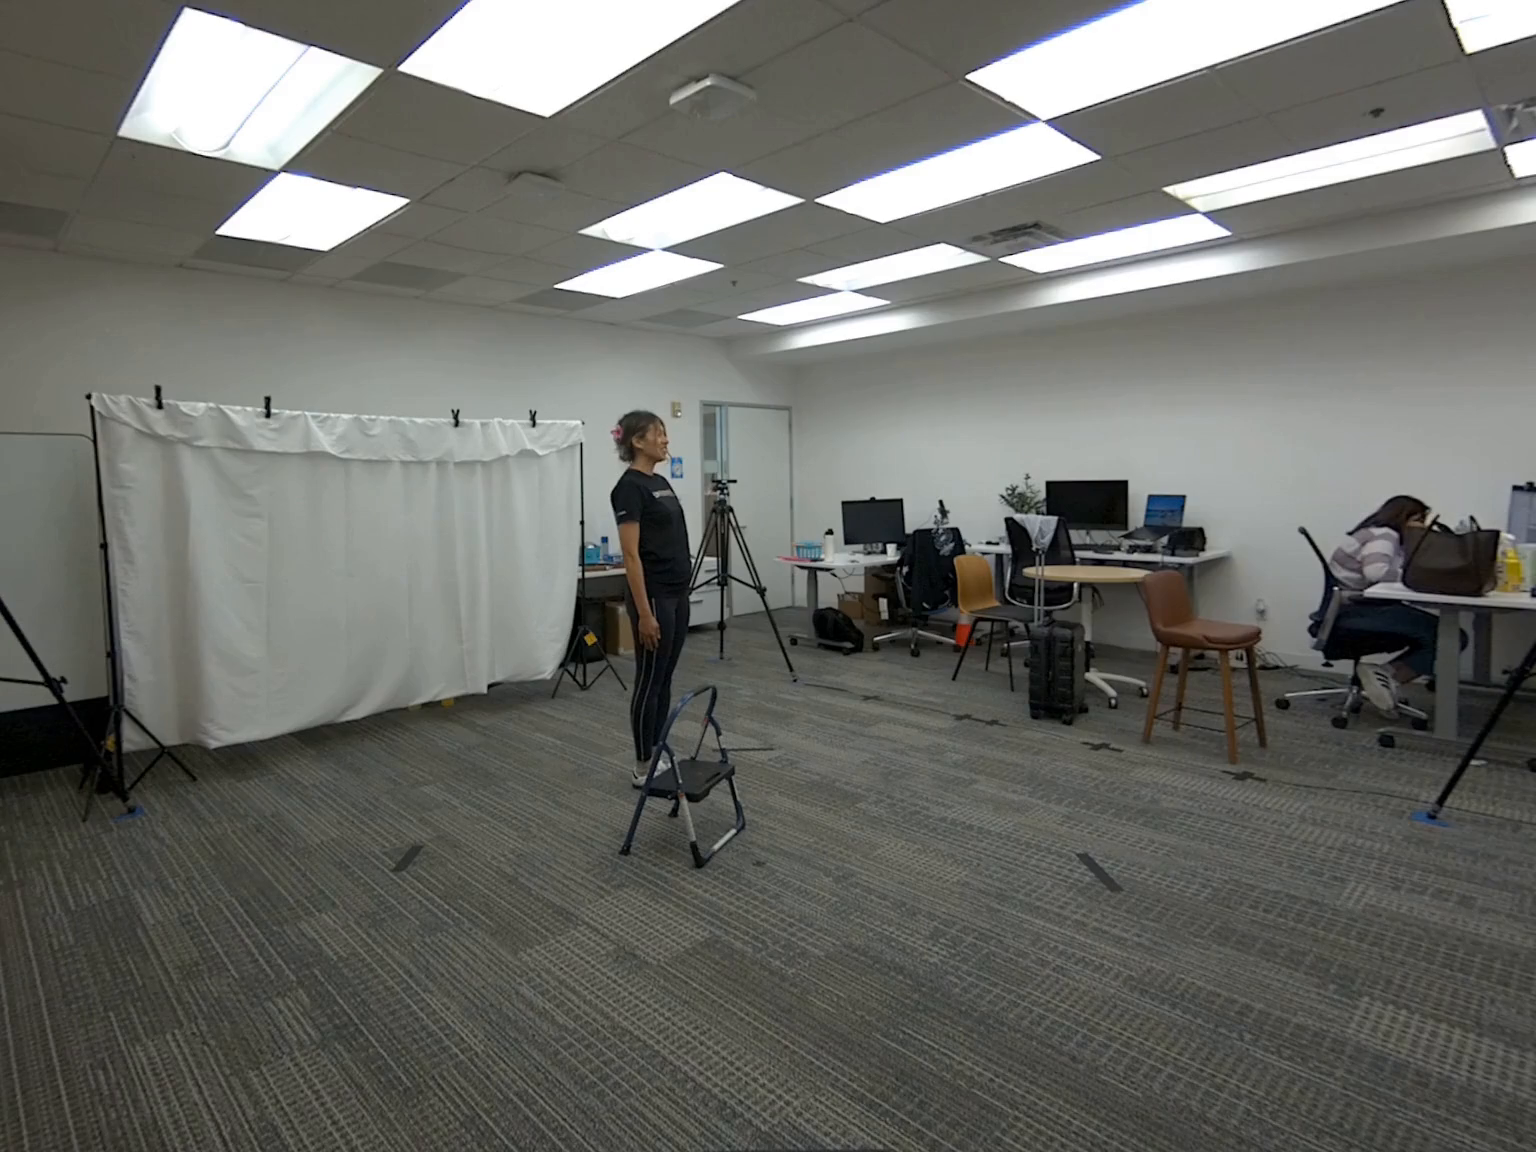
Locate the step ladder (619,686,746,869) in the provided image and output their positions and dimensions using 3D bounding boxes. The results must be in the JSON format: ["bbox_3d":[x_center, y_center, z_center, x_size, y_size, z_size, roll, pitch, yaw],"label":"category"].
[{"bbox_3d":[-0.327,0.724,3.313,0.357,0.604,0.423,0,4,22],"label":"step ladder"}]
